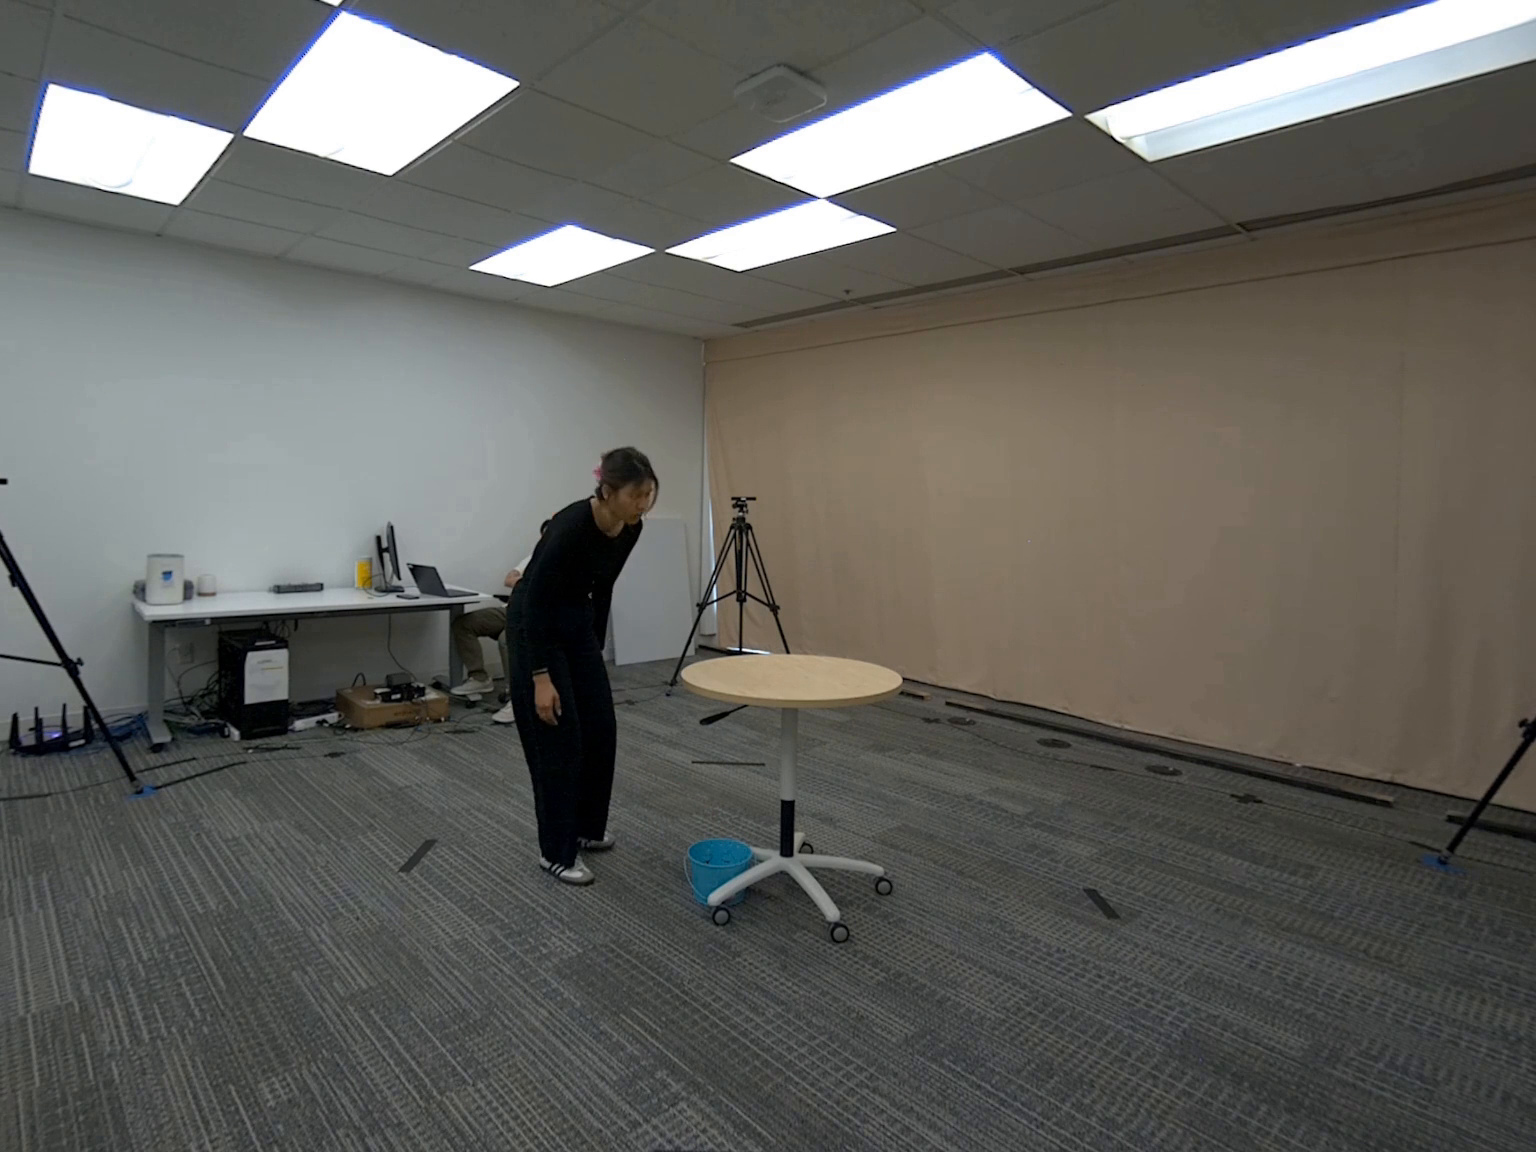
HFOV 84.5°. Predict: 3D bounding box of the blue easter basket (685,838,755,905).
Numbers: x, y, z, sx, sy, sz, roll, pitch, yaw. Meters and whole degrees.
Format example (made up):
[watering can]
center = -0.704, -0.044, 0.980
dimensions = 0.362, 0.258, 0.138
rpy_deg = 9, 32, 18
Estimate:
[blue easter basket]
center = -0.177, 1.045, 2.946
dimensions = 0.243, 0.155, 0.244
rpy_deg = 0, 4, -1
